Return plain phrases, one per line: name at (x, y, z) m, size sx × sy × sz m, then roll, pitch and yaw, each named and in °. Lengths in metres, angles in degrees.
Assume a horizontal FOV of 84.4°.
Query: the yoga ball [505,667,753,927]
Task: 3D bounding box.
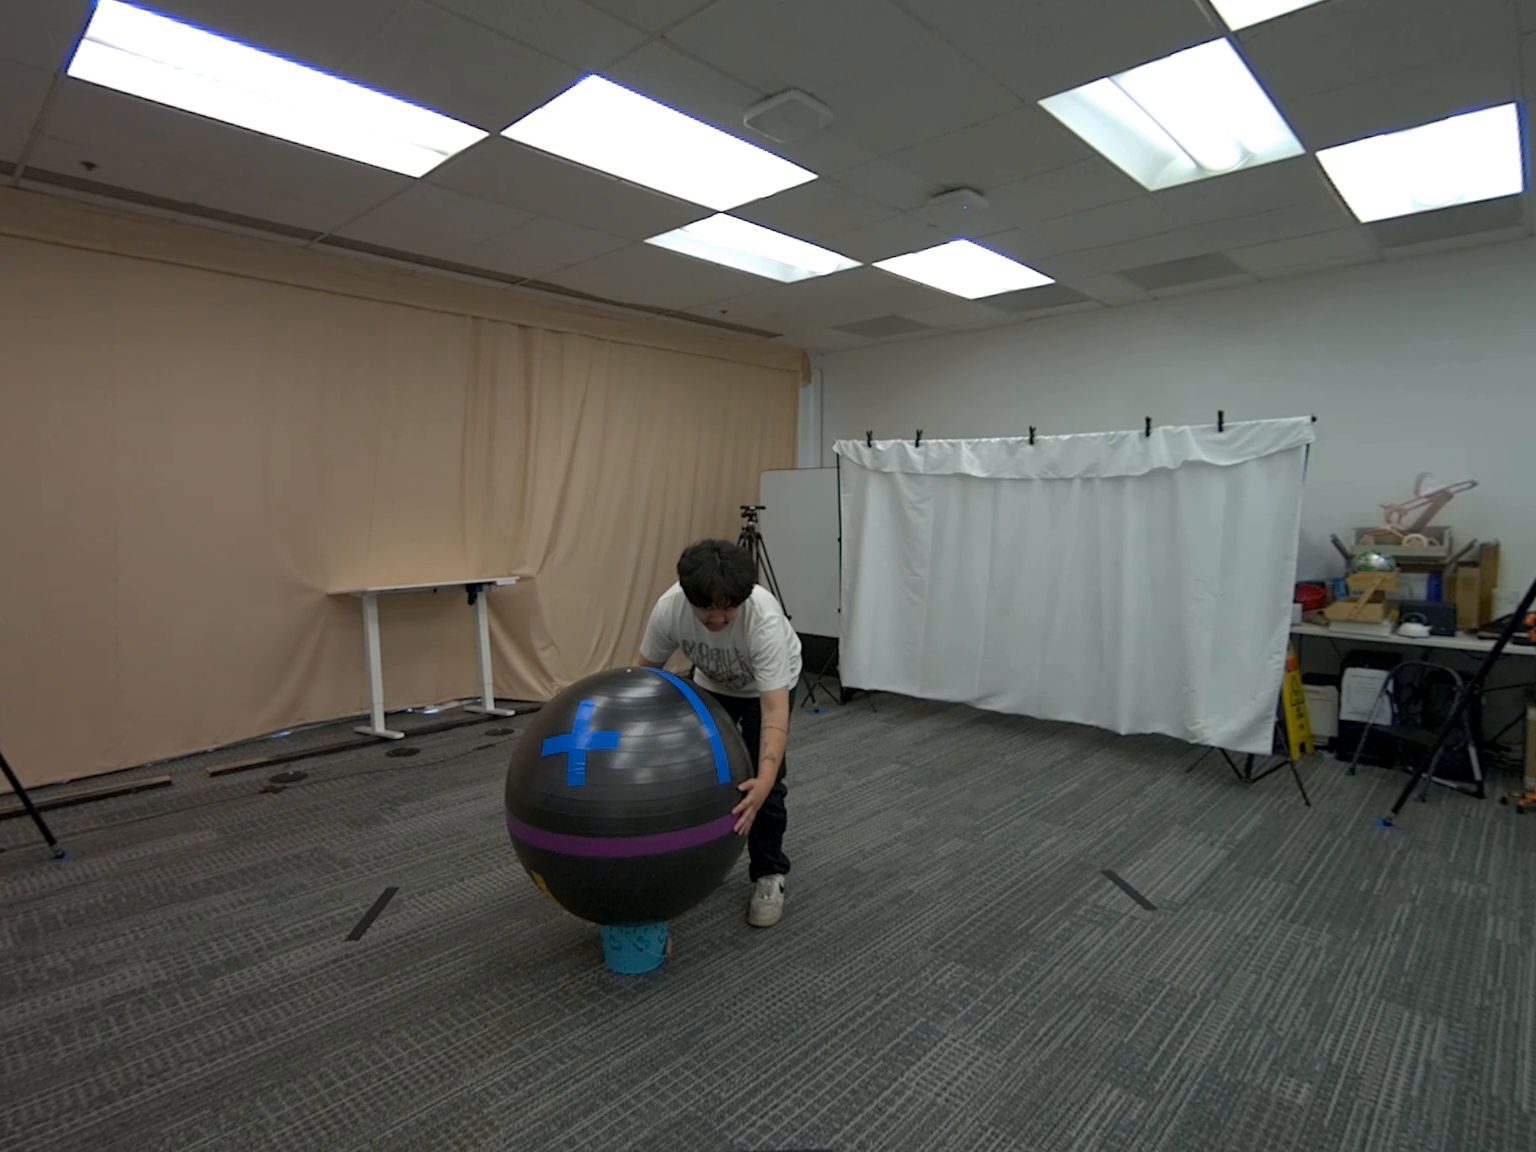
yoga ball at (-0.419, 0.664, 2.584) m, size 0.757 × 0.756 × 0.760 m, roll 0°, pitch 4°, yaw -2°
